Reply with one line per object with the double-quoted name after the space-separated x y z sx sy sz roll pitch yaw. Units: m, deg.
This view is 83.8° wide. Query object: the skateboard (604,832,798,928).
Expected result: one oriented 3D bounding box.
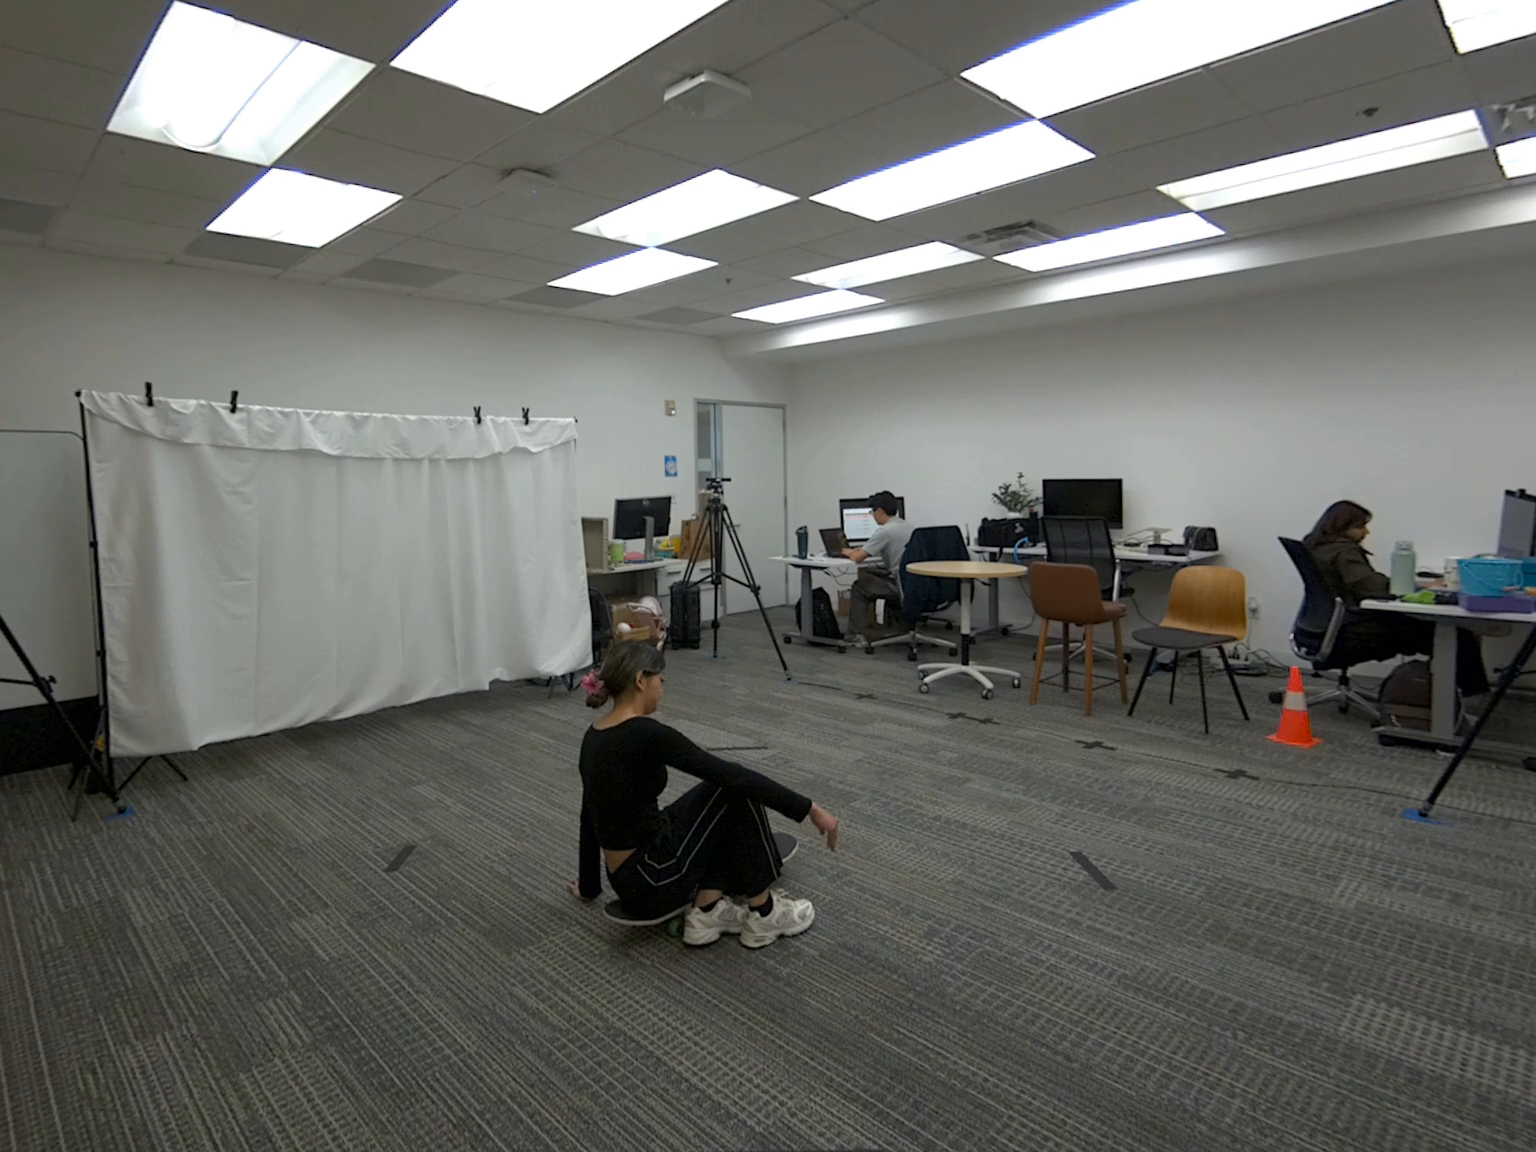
-0.191 1.024 2.812 0.766 0.110 0.199 -9 7 -44 "skateboard"
